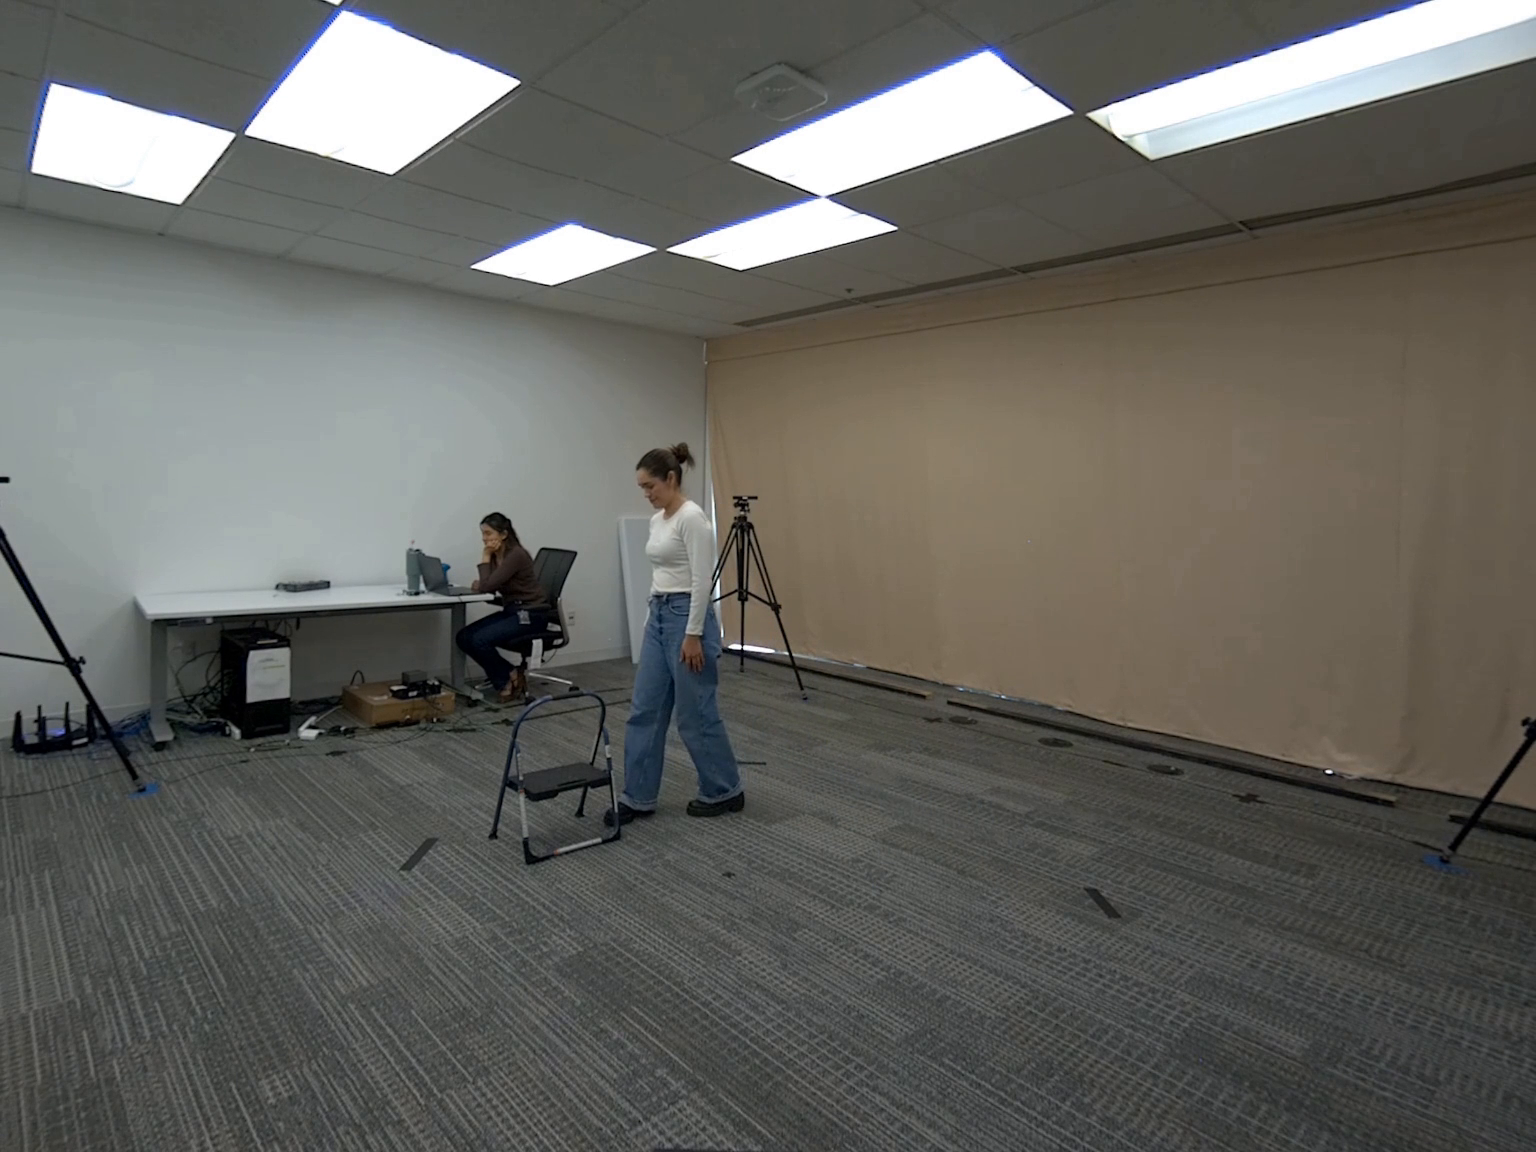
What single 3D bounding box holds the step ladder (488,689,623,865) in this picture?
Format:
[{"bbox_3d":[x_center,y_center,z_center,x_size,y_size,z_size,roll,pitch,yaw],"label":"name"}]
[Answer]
[{"bbox_3d":[-0.862,0.758,3.383,0.421,0.604,0.358,-2,5,-42],"label":"step ladder"}]
